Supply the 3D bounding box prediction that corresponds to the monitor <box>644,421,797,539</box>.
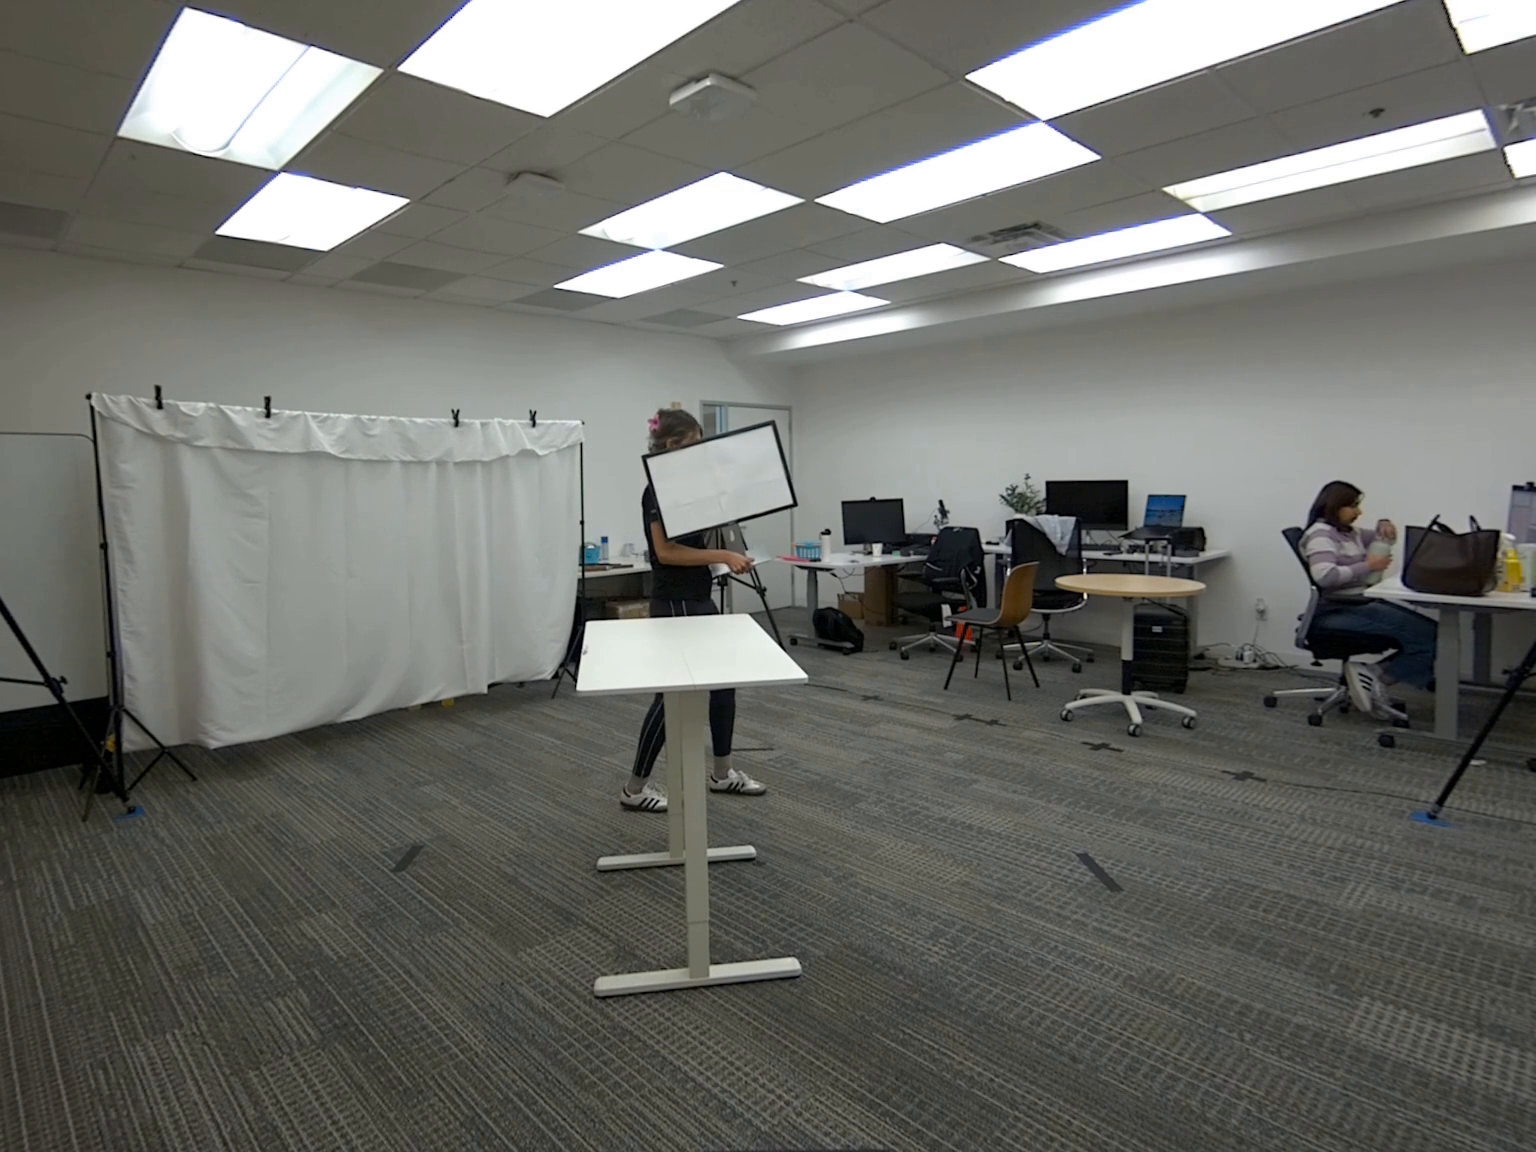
[{"bbox_3d":[-0.176,-0.304,3.486,0.536,0.515,0.190,-16,13,-7],"label":"monitor"}]
